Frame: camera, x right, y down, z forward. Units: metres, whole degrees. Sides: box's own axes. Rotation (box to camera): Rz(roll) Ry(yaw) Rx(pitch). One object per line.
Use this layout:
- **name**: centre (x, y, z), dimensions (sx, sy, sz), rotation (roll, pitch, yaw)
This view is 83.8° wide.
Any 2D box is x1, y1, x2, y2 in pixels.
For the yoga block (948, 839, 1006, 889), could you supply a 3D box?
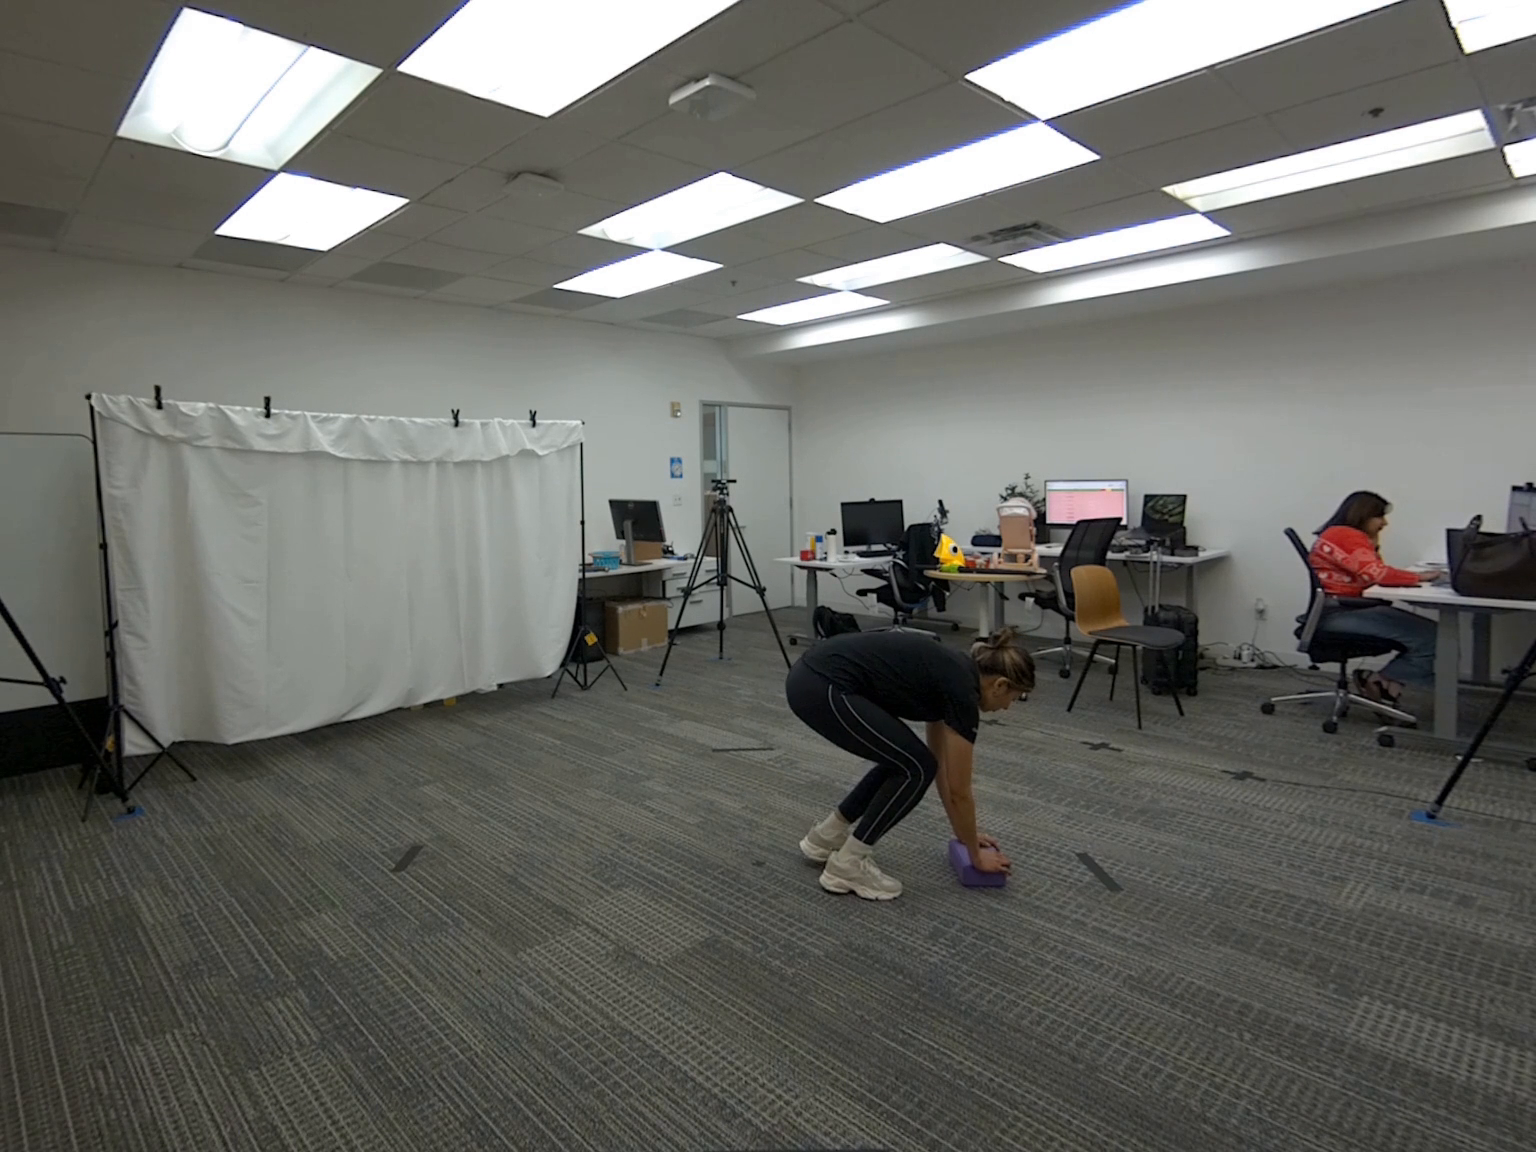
- **yoga block**: centre (0.729, 1.005, 3.007), dimensions (0.149, 0.076, 0.230), rotation (5, 5, 0)
